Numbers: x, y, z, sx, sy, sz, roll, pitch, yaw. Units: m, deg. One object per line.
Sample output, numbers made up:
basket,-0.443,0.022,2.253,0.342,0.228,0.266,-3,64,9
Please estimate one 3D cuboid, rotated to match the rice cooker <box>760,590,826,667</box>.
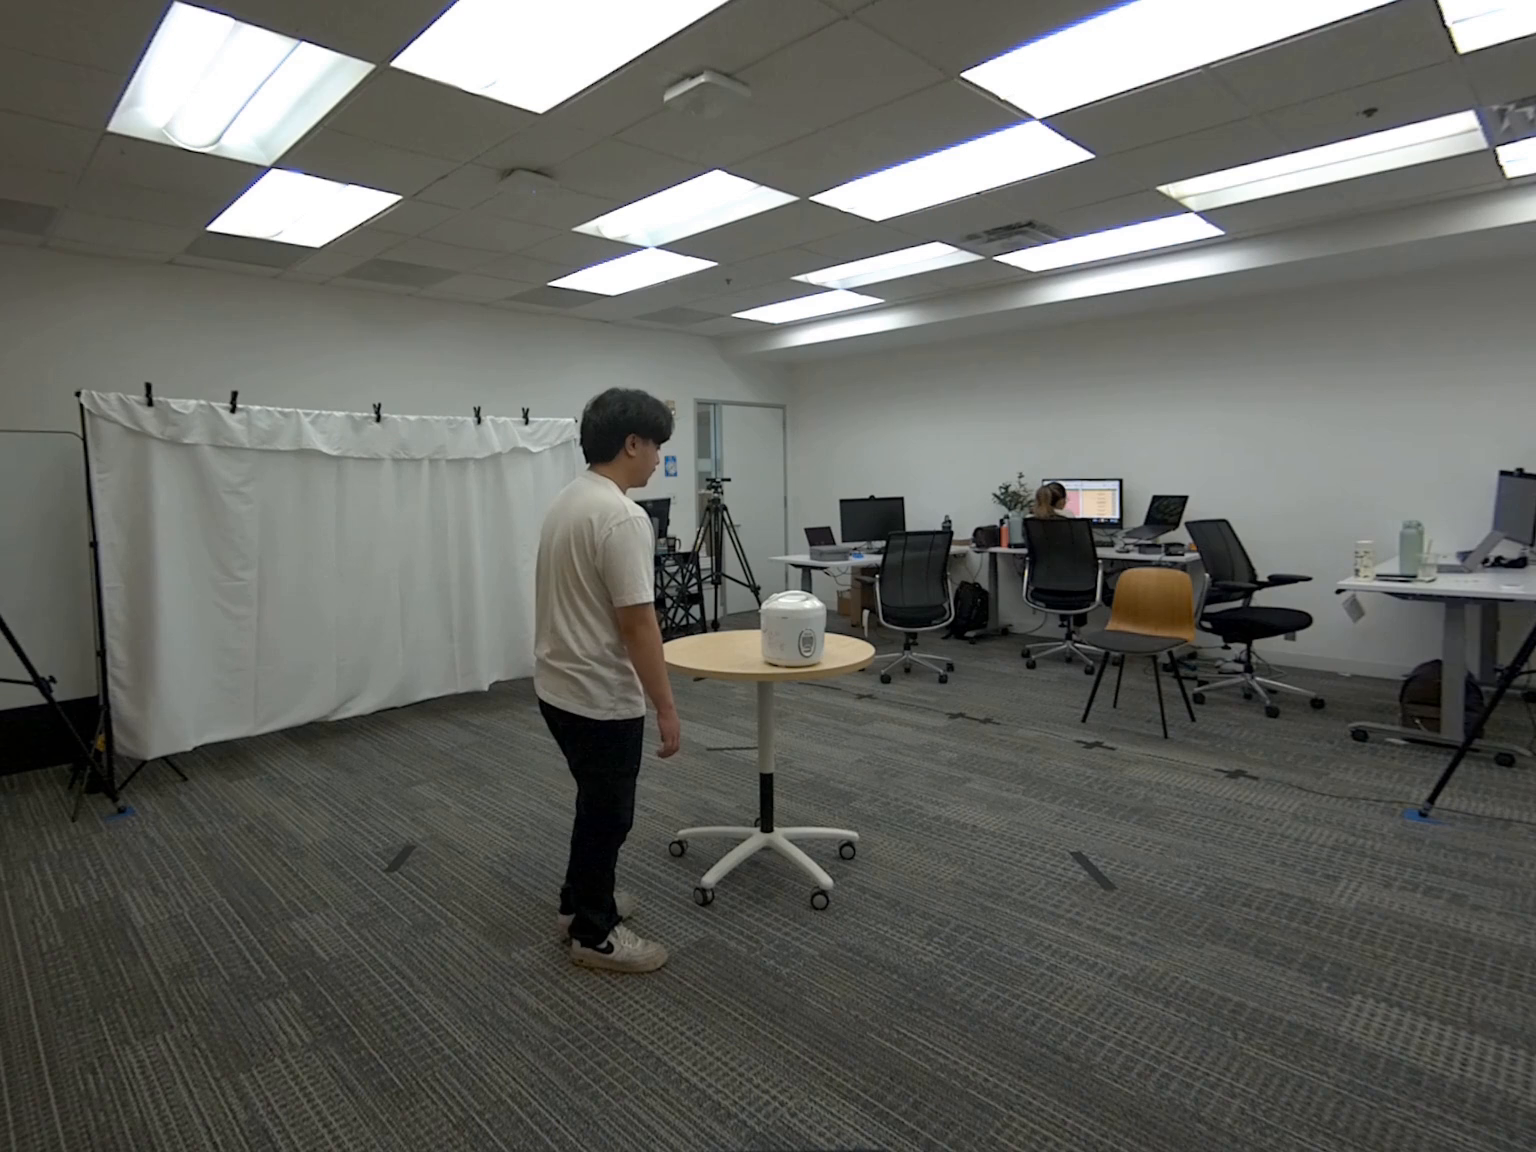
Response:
rice cooker,0.084,0.164,2.767,0.216,0.232,0.222,-4,5,-22
